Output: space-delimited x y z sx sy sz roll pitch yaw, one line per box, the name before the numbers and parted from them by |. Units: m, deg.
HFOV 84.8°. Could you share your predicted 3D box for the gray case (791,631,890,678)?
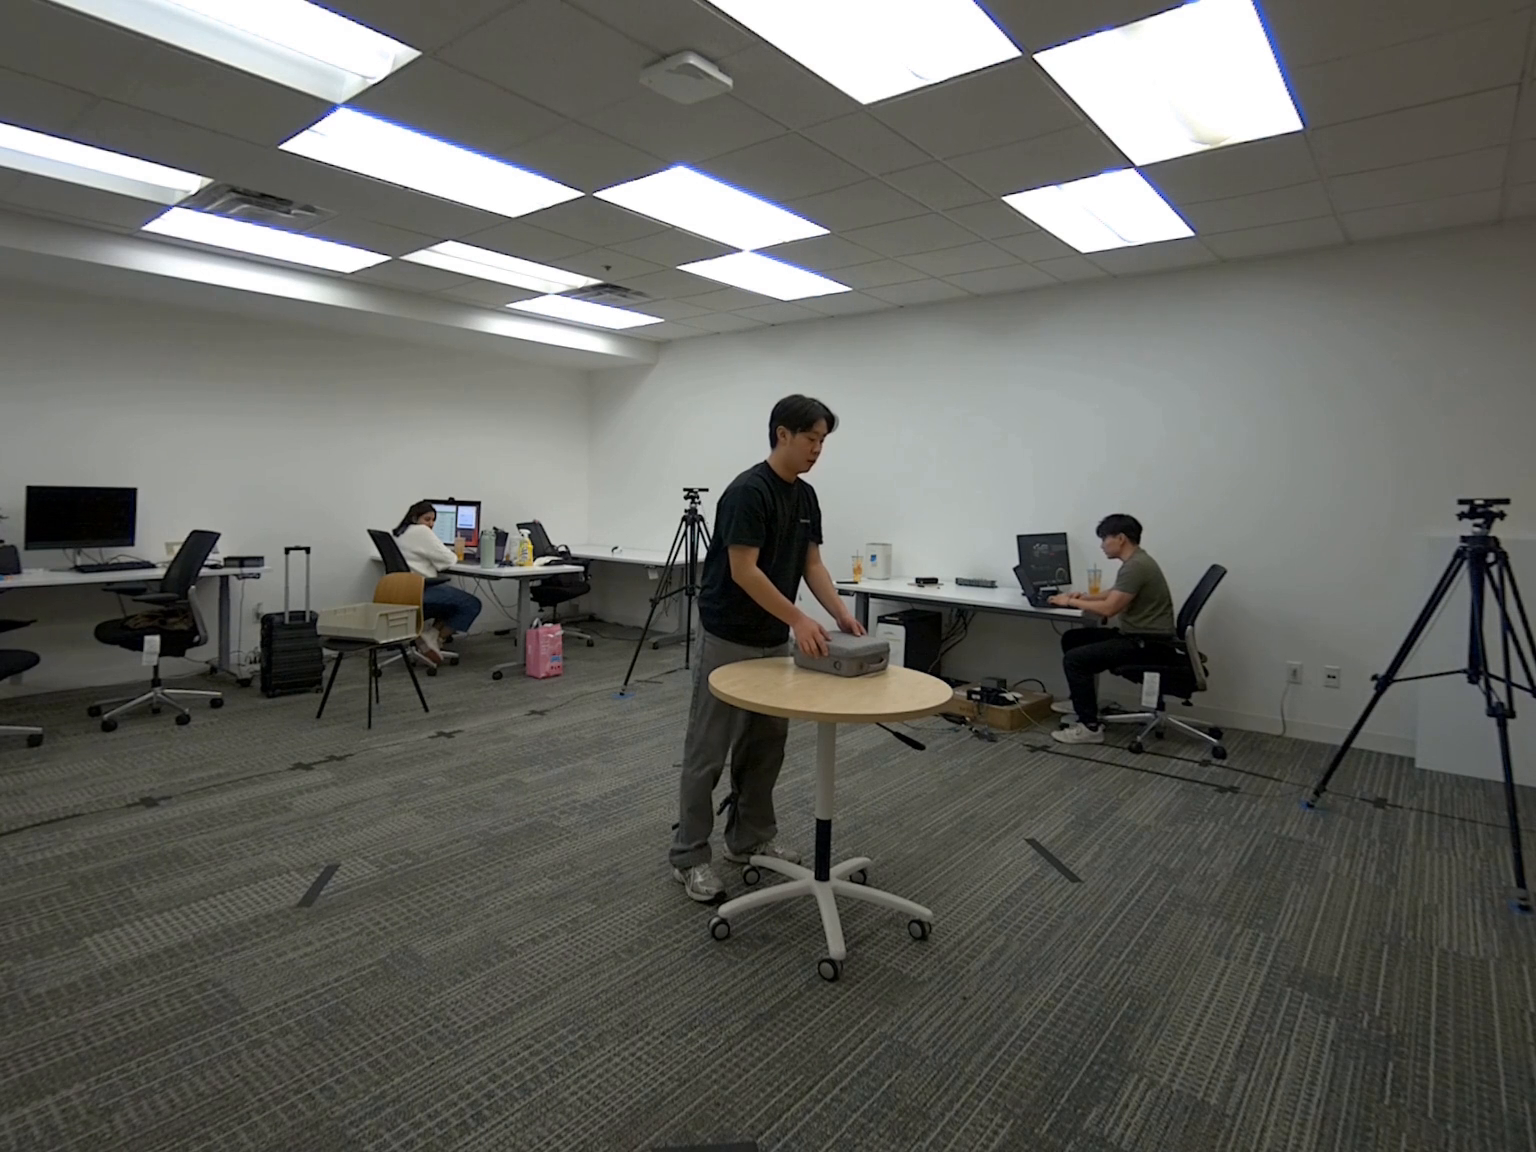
gray case | 0.258 0.267 2.912 0.297 0.102 0.255 8 8 40
